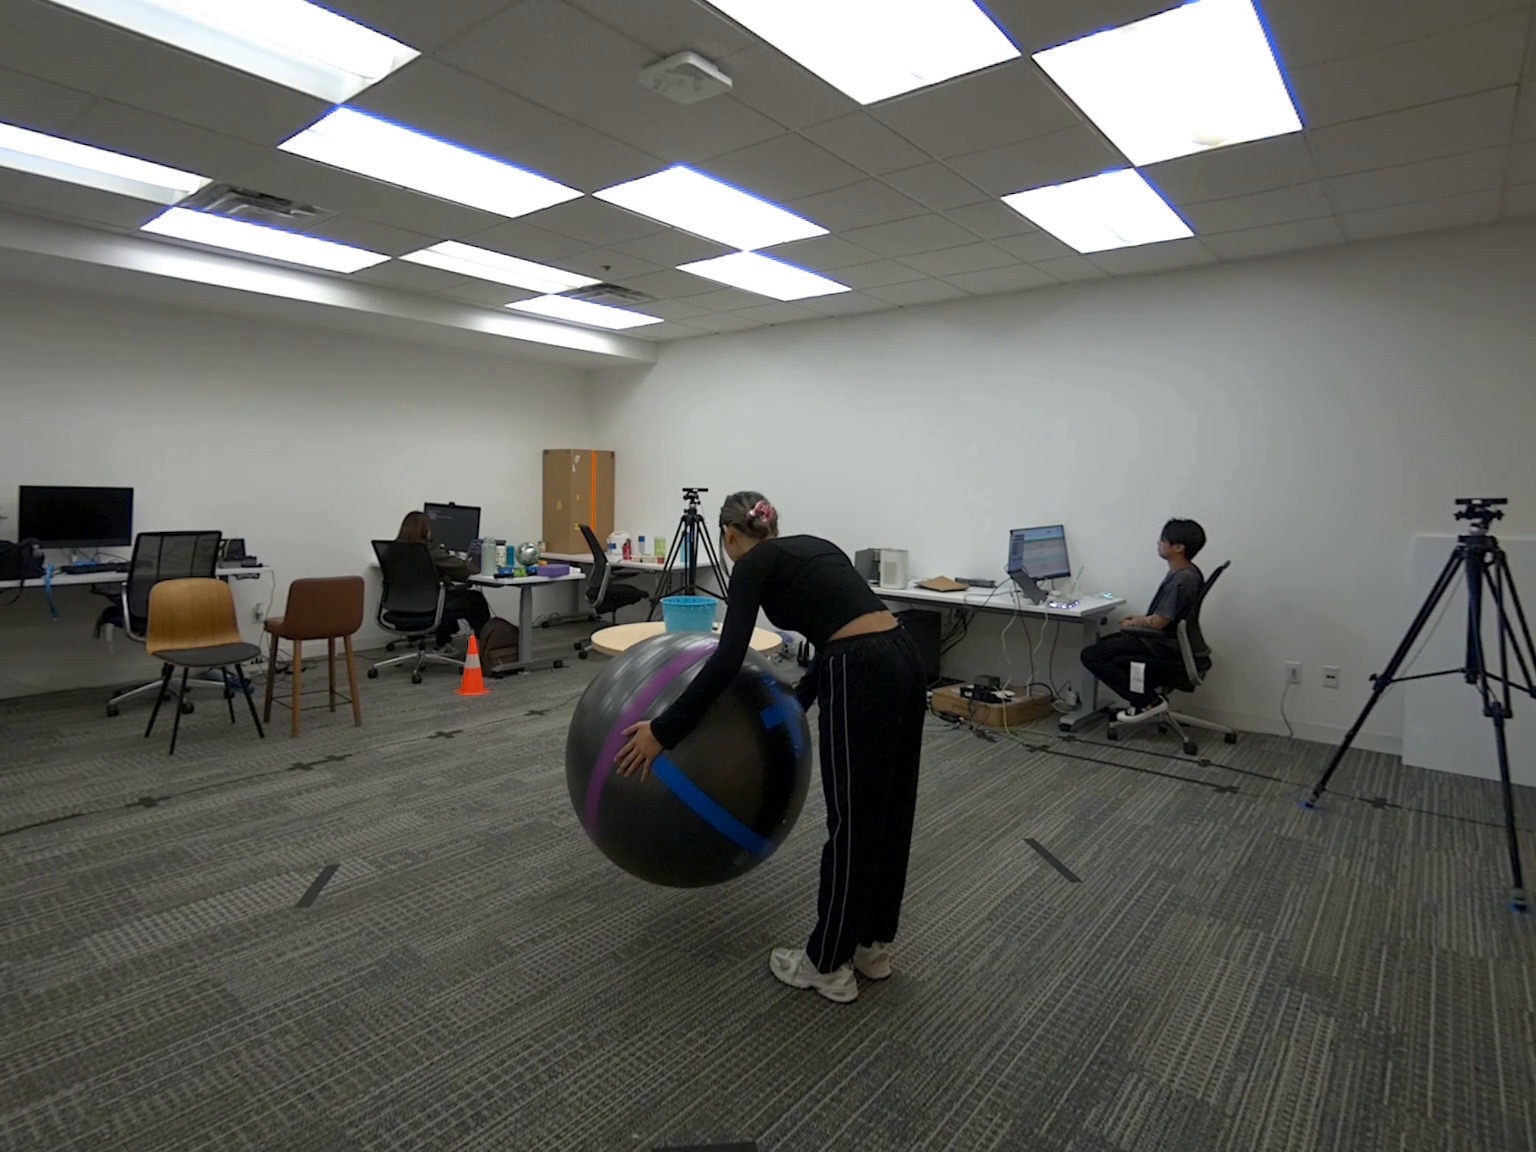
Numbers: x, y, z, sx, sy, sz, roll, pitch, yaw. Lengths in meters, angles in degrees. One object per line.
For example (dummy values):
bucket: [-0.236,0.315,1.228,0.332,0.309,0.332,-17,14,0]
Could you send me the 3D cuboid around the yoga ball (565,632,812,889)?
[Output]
yoga ball: [-0.254,0.557,2.613,0.757,0.756,0.762,1,4,-2]
